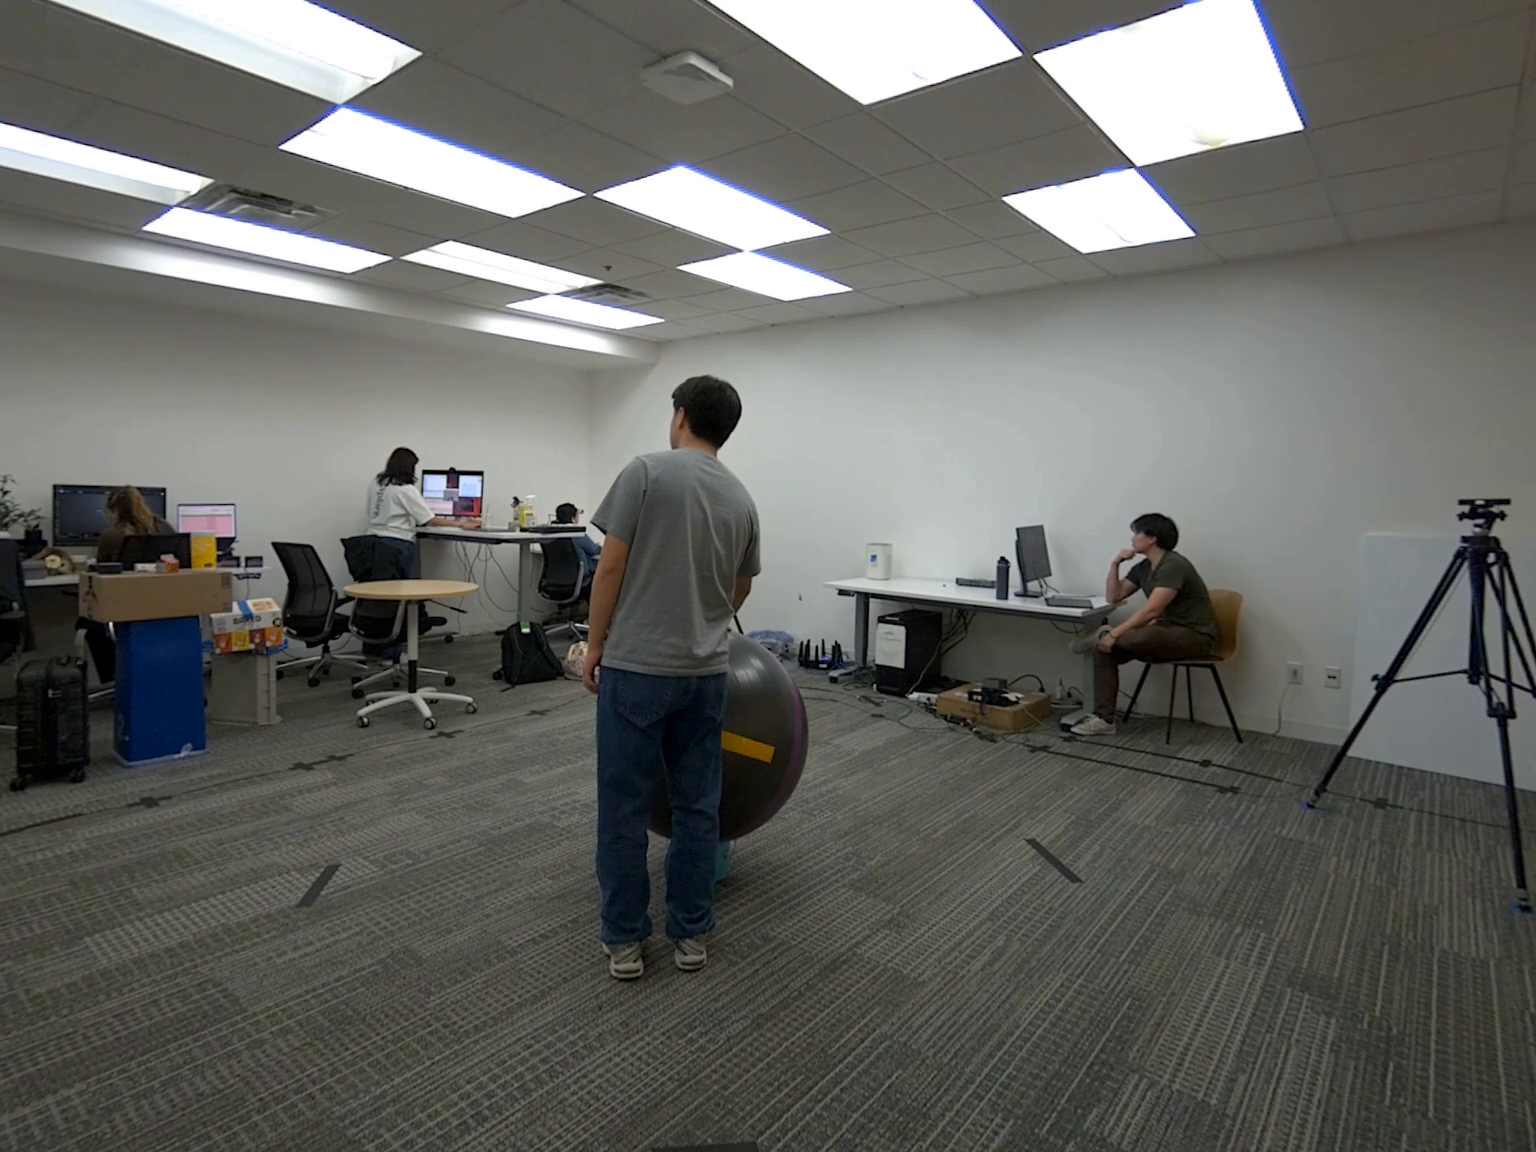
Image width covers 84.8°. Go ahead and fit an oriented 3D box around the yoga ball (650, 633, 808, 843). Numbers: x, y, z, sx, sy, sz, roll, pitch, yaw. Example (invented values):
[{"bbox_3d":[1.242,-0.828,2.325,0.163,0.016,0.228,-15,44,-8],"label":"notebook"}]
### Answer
[{"bbox_3d":[-0.247,0.558,3.060,0.757,0.755,0.762,1,4,-2],"label":"yoga ball"}]
